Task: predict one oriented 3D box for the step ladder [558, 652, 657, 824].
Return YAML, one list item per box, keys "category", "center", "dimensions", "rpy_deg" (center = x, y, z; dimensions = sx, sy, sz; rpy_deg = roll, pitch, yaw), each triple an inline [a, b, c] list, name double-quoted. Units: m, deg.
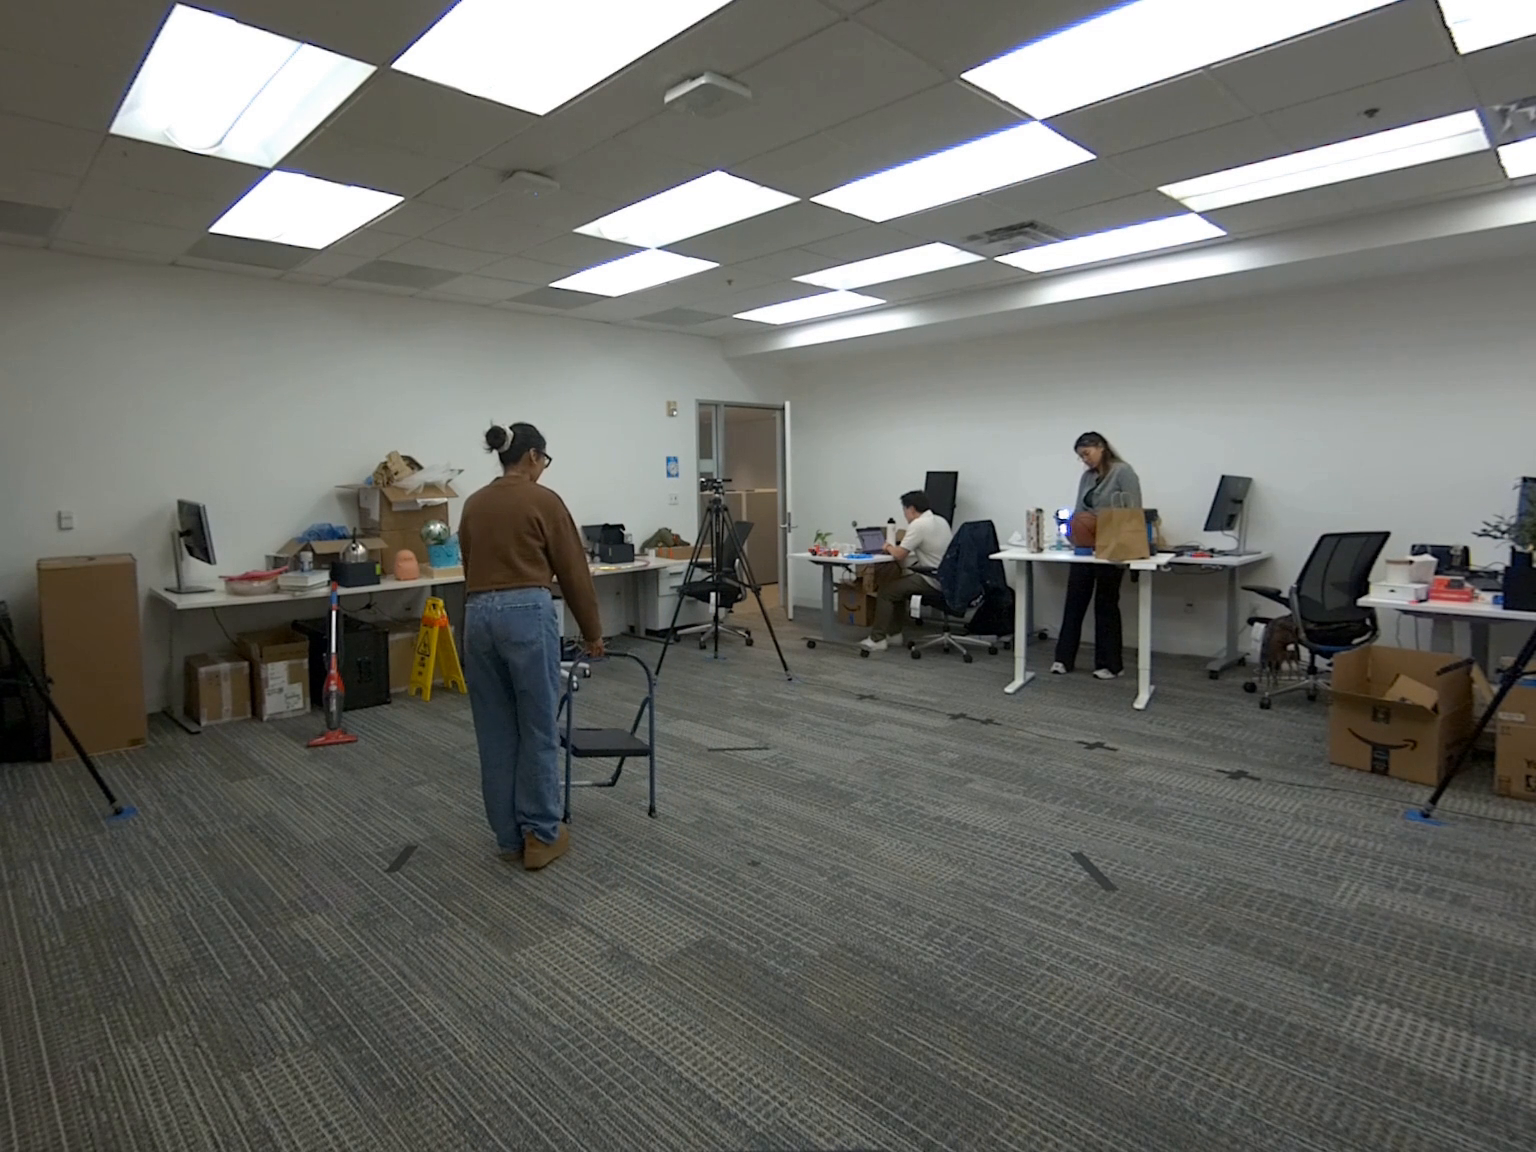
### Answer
- category: "step ladder"
  center: [-0.644, 0.619, 3.436]
  dimensions: [0.416, 0.605, 0.361]
  rpy_deg: [11, 2, -41]
